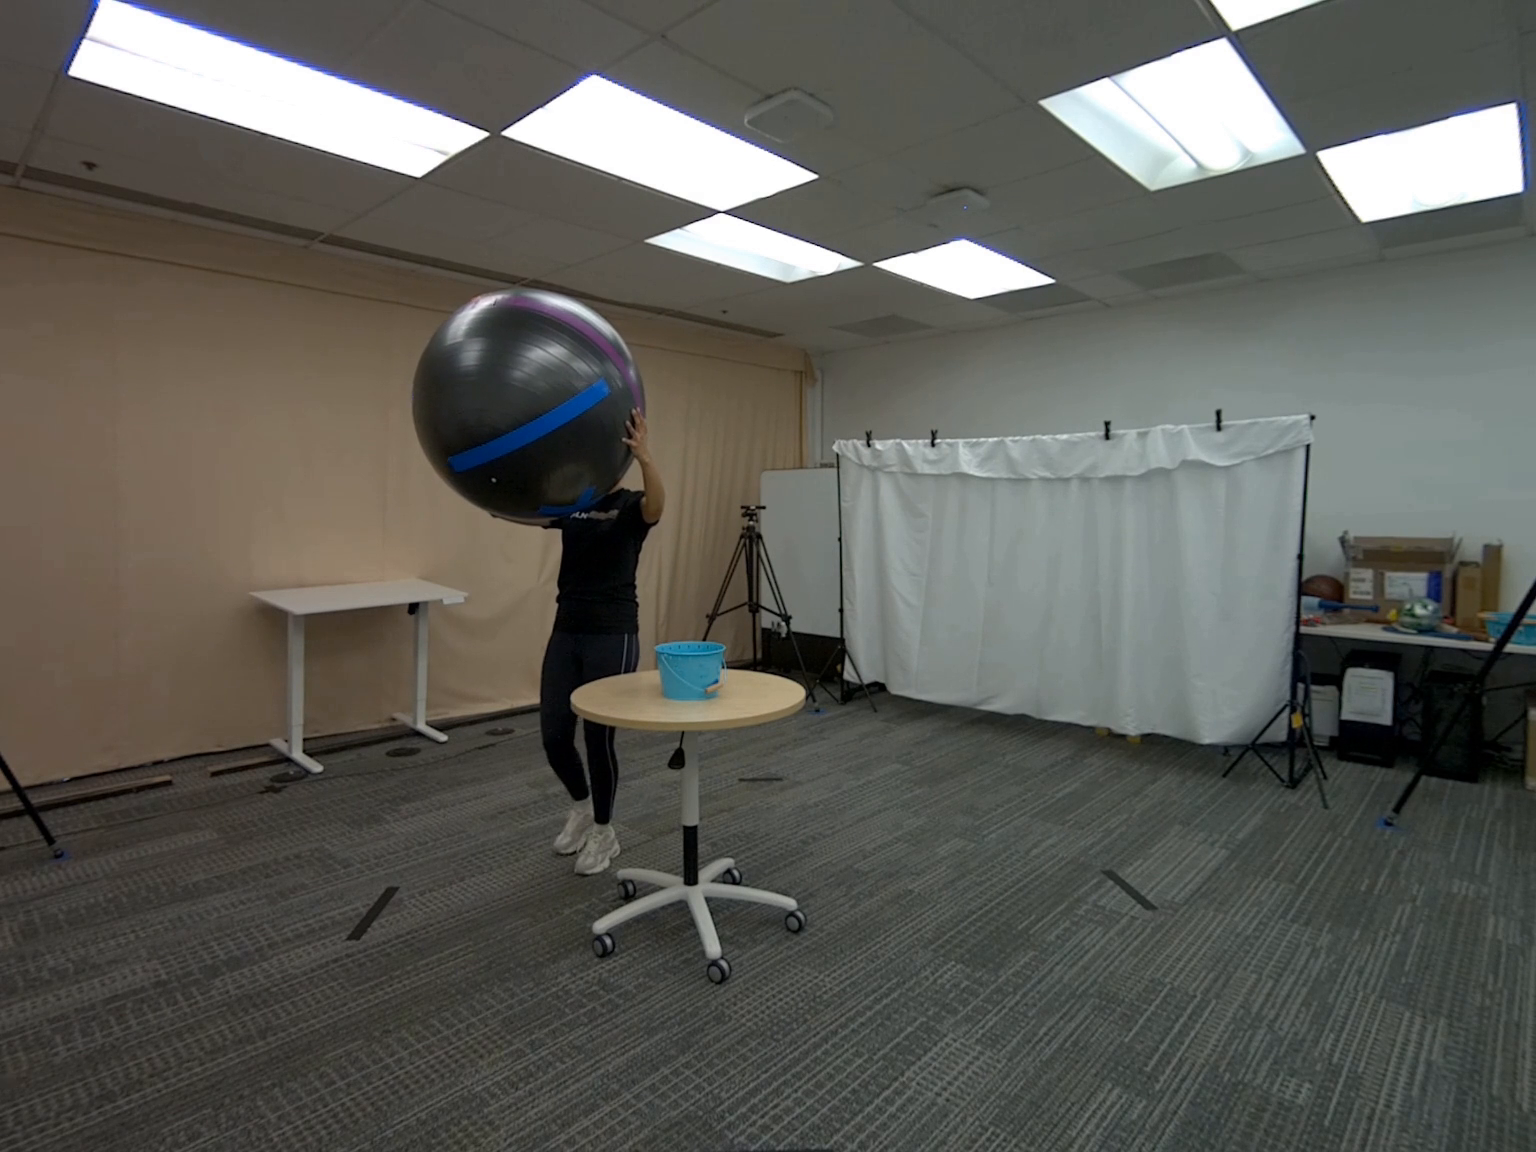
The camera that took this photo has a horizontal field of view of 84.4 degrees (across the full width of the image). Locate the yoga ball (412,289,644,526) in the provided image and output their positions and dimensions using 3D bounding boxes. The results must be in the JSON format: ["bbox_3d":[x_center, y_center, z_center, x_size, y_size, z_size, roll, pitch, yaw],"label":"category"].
[{"bbox_3d":[-0.790,-0.562,2.802,0.757,0.756,0.761,0,4,-2],"label":"yoga ball"}]
